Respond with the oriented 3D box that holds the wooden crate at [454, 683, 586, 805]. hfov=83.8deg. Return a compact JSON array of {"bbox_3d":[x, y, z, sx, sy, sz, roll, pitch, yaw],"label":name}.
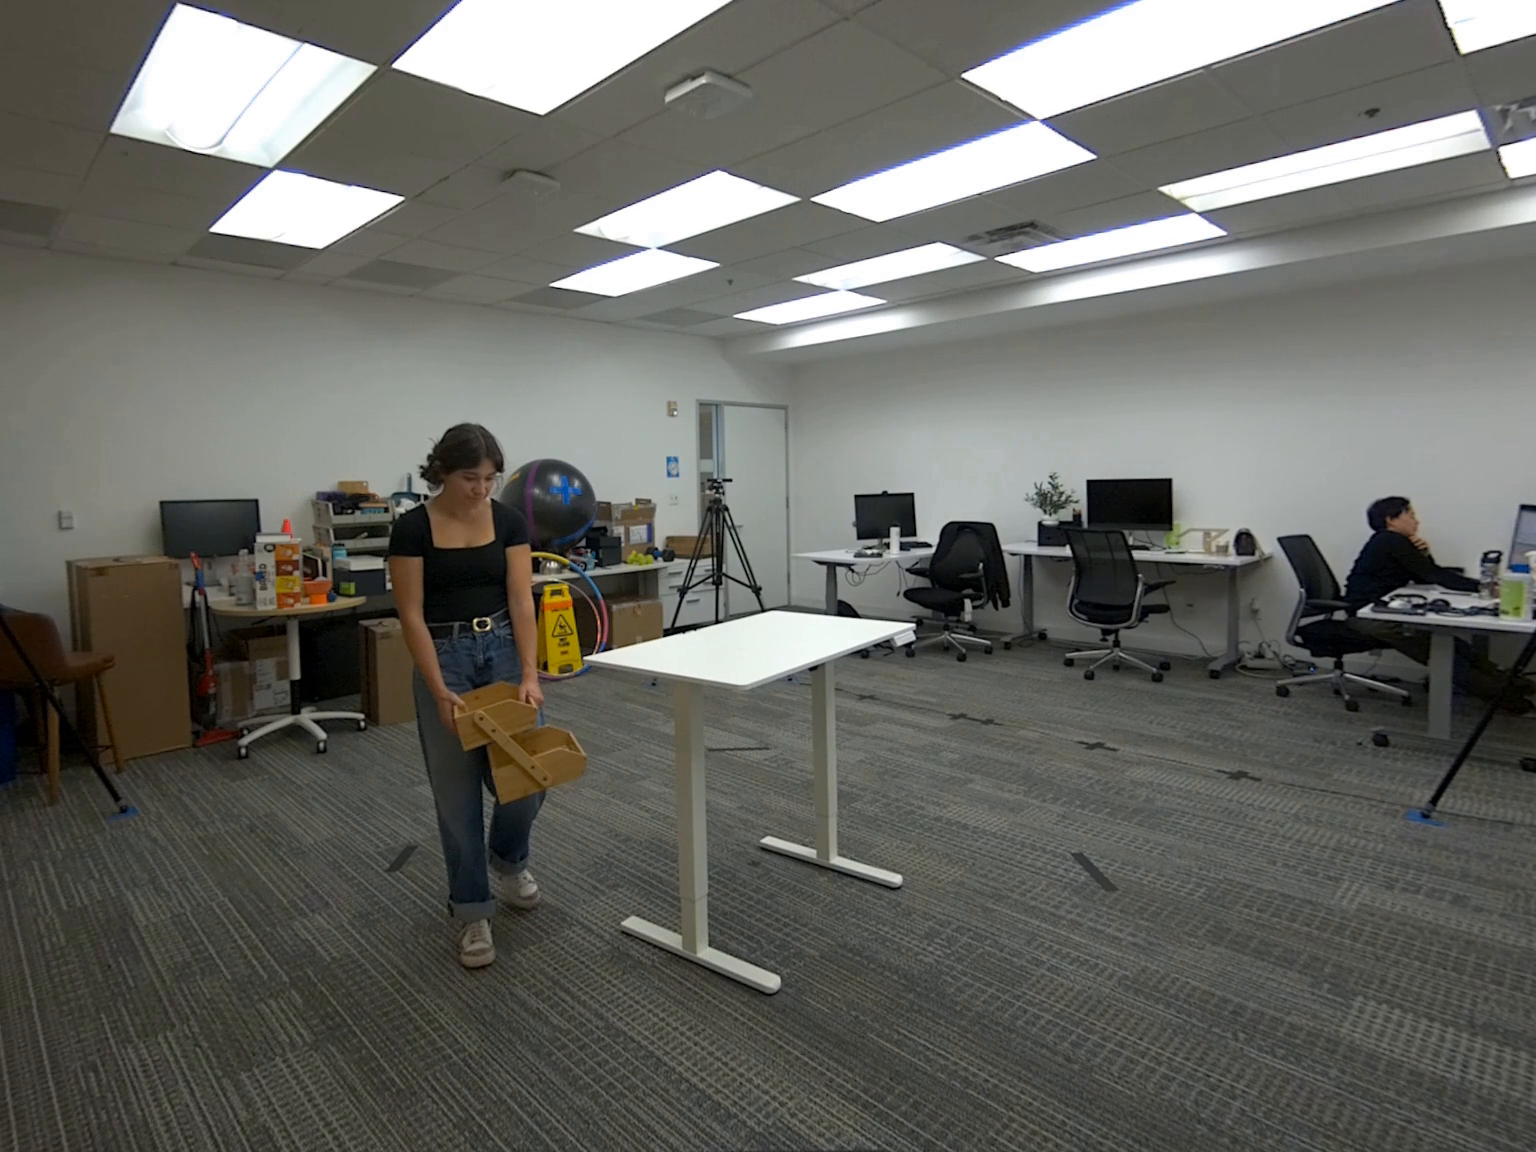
[{"bbox_3d":[-0.697,0.442,2.396,0.298,0.272,0.330,-17,7,-18],"label":"wooden crate"}]
